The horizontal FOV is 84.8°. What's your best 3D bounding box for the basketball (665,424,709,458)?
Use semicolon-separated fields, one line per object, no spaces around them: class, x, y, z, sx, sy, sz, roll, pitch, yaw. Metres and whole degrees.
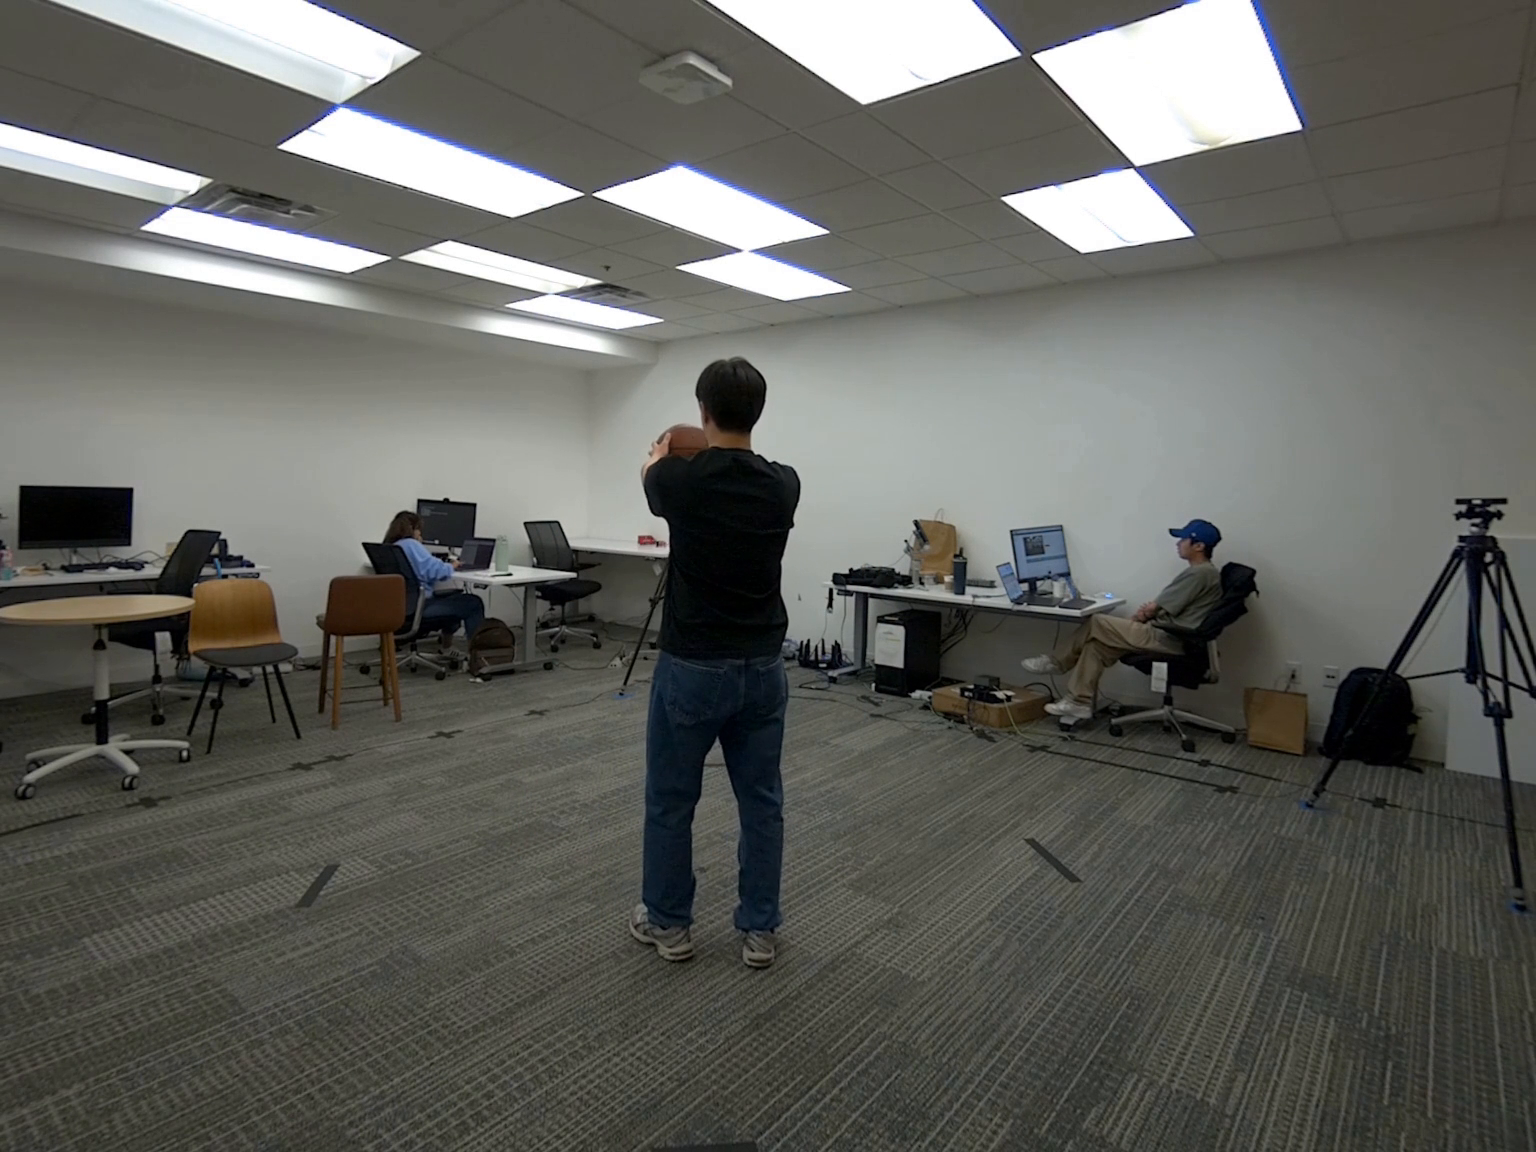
basketball;-0.316;-0.436;3.106;0.236;0.235;0.237;1;4;-2
